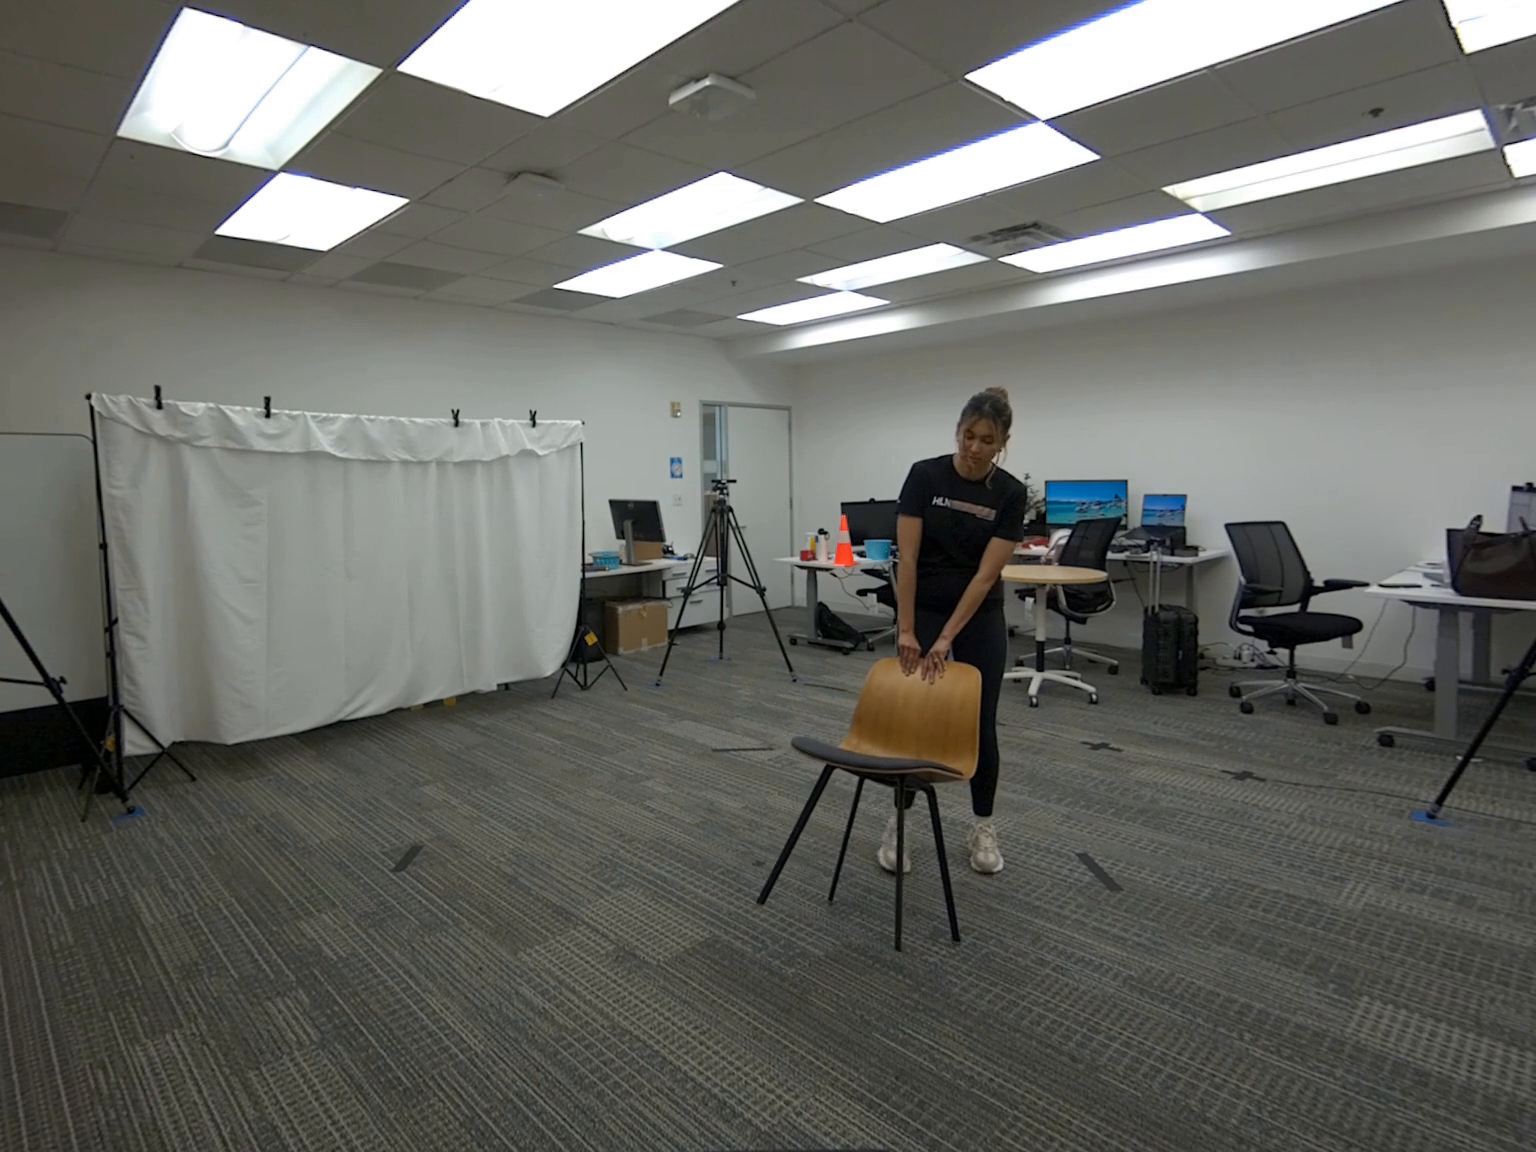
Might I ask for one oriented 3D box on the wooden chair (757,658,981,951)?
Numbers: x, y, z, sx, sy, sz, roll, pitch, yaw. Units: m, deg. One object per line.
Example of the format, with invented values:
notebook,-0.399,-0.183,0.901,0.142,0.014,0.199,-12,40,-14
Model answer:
wooden chair,0.346,0.613,2.604,0.492,0.886,0.503,2,-20,36
